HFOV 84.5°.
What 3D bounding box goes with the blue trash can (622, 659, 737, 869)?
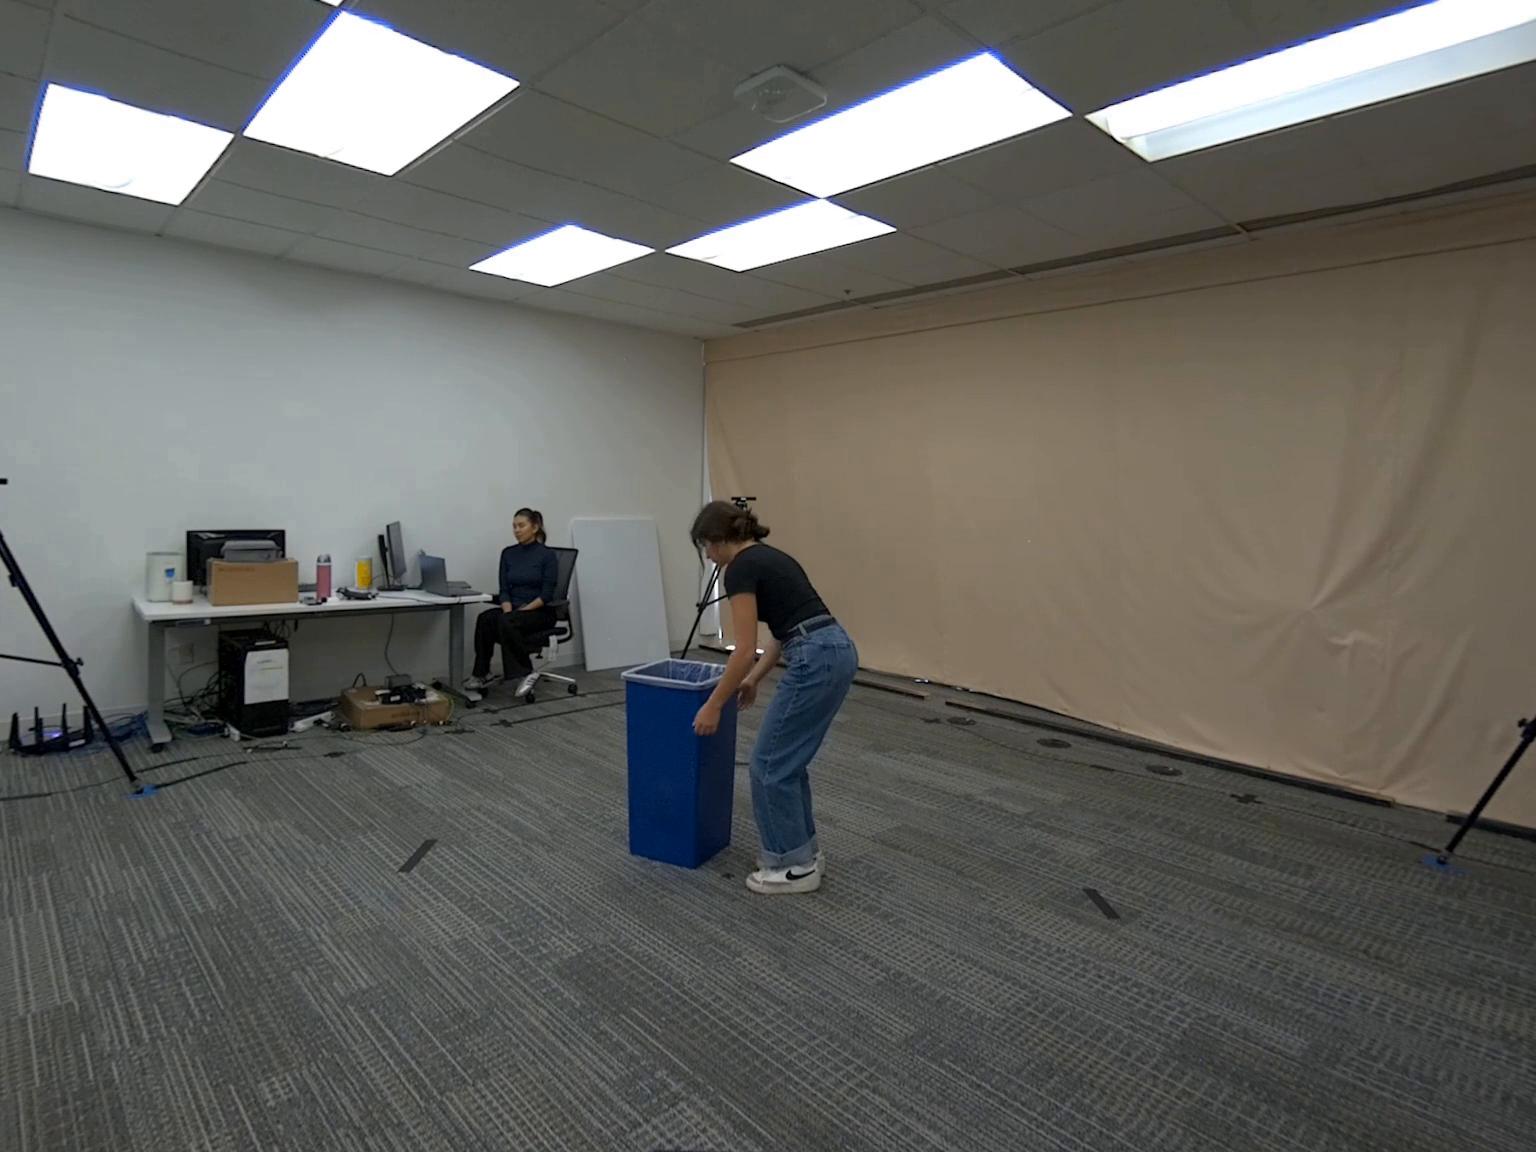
[{"bbox_3d":[-0.347,0.724,3.320,0.386,0.712,0.367,3,3,27],"label":"blue trash can"}]
